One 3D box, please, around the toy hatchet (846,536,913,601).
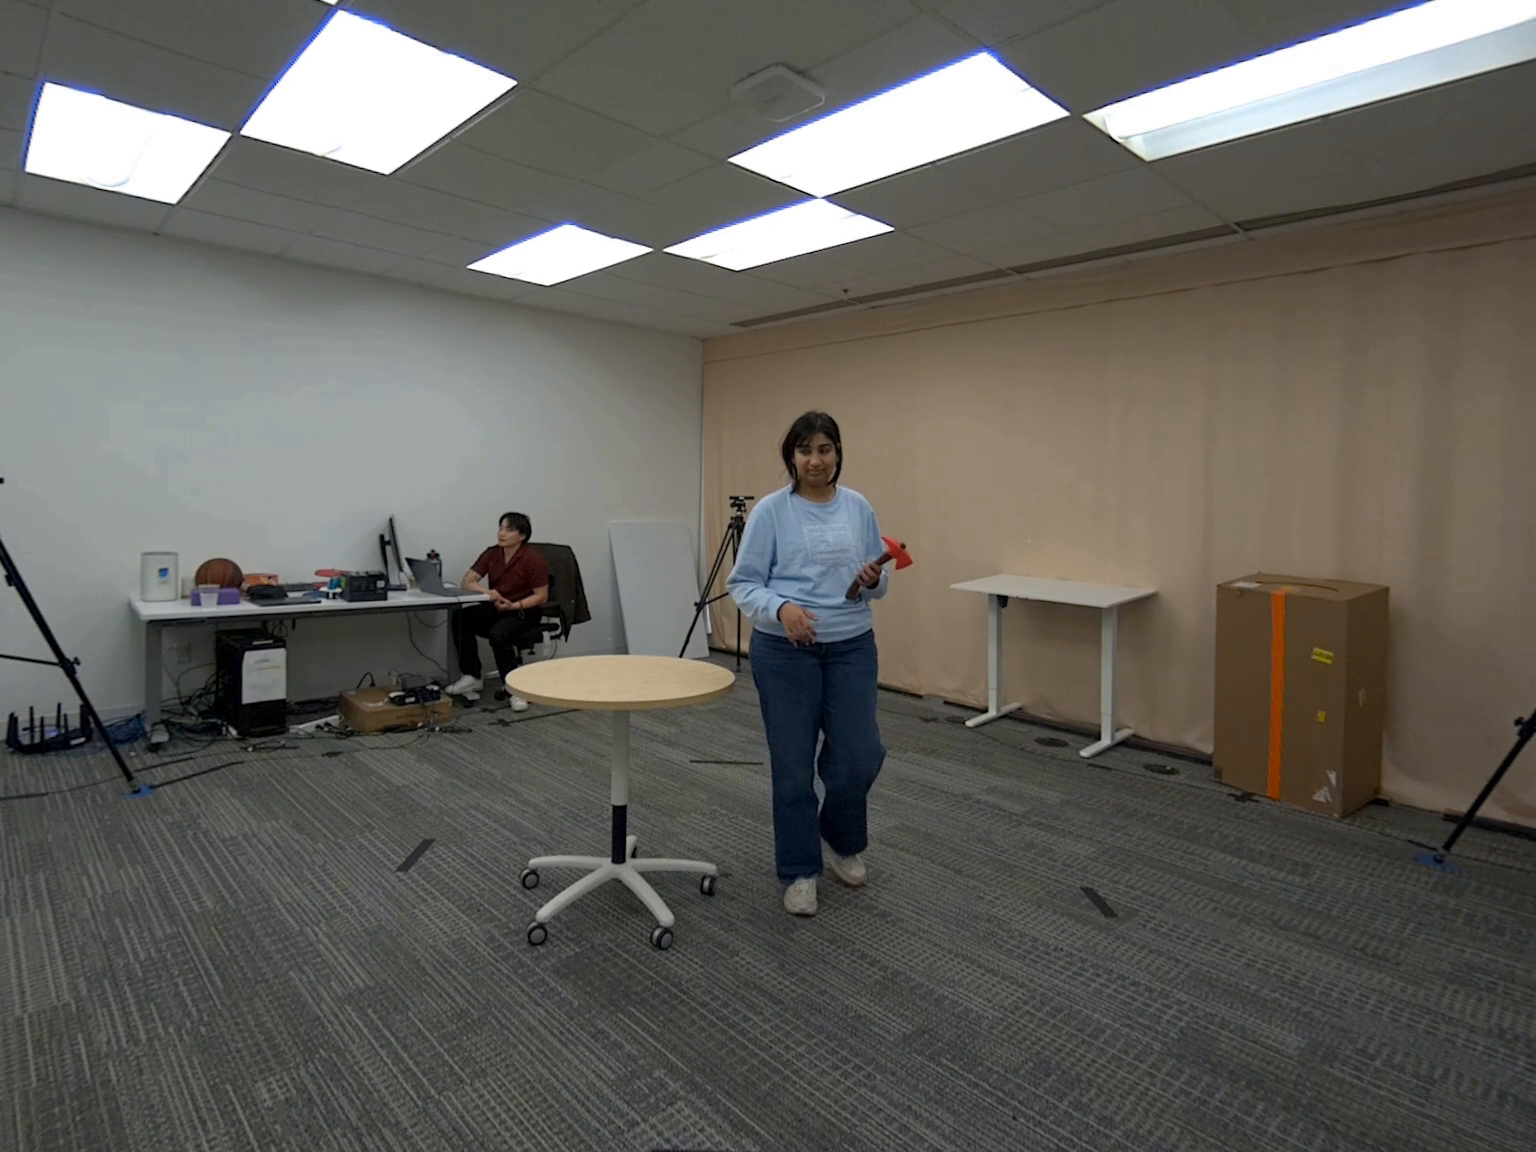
[{"bbox_3d":[0.337,-0.006,2.655,0.130,0.268,0.030,27,34,-7],"label":"toy hatchet"}]
